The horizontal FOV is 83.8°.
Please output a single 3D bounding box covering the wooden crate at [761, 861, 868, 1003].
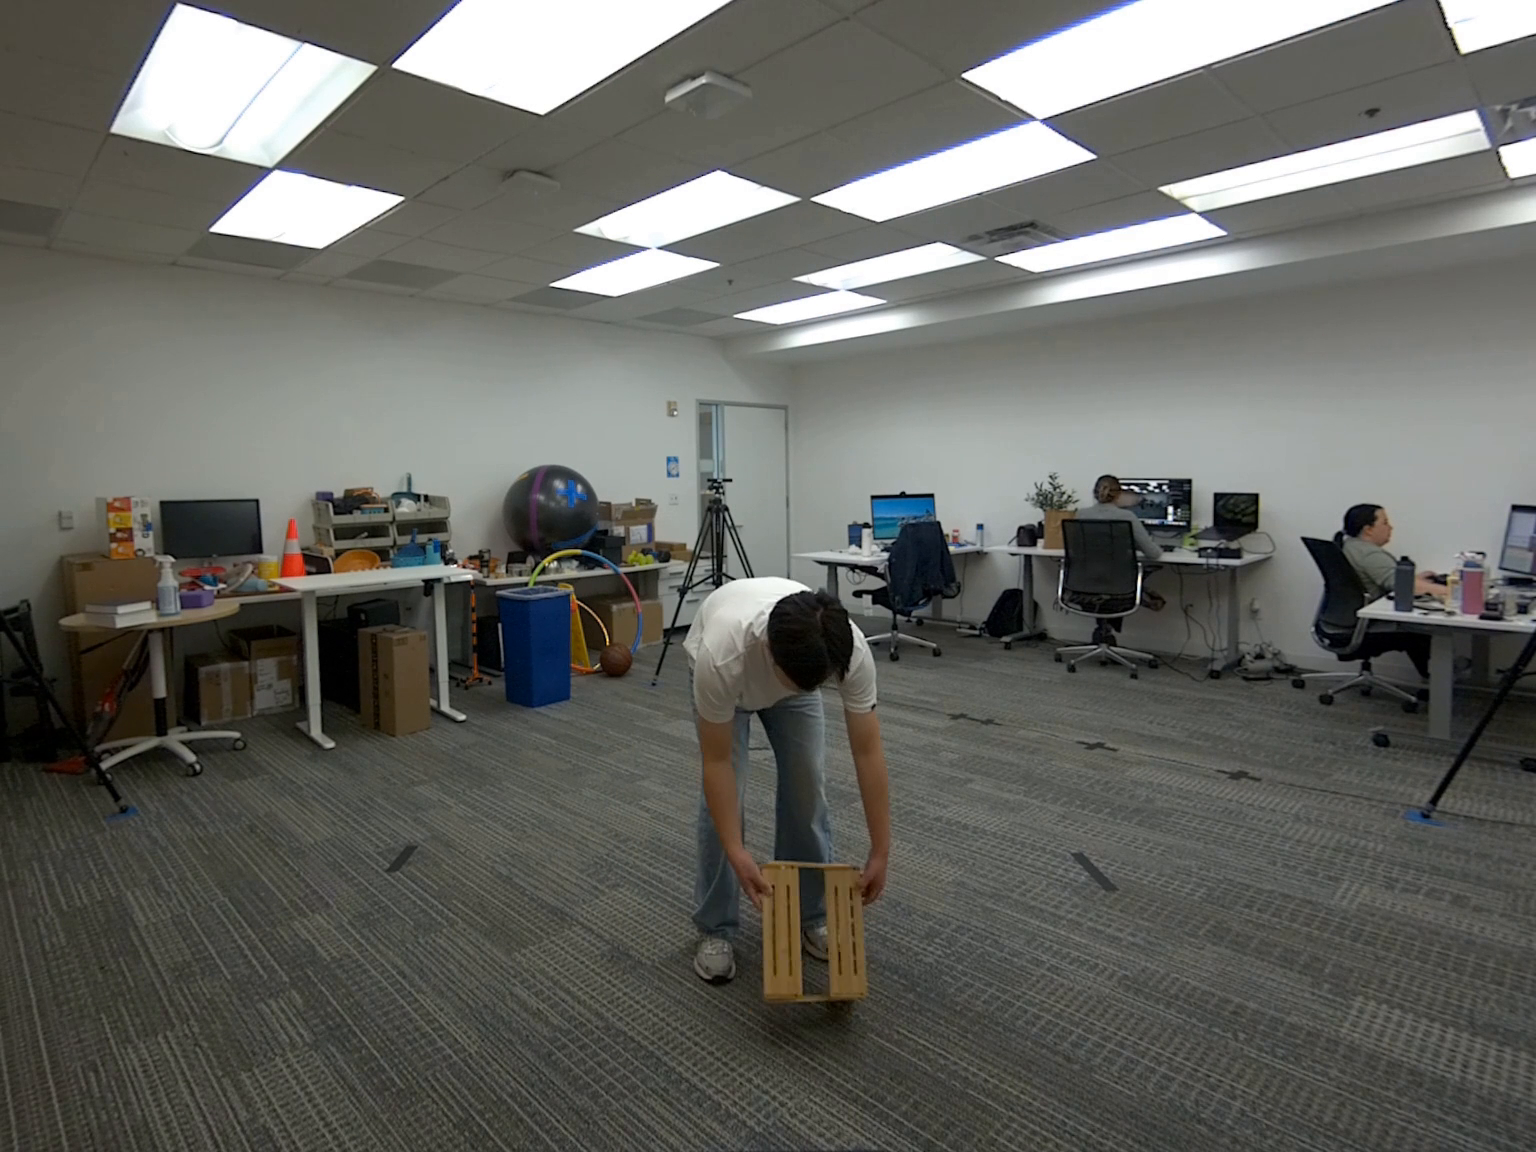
[{"bbox_3d":[0.109,0.943,2.249,0.273,0.331,0.296,0,-24,-2],"label":"wooden crate"}]
